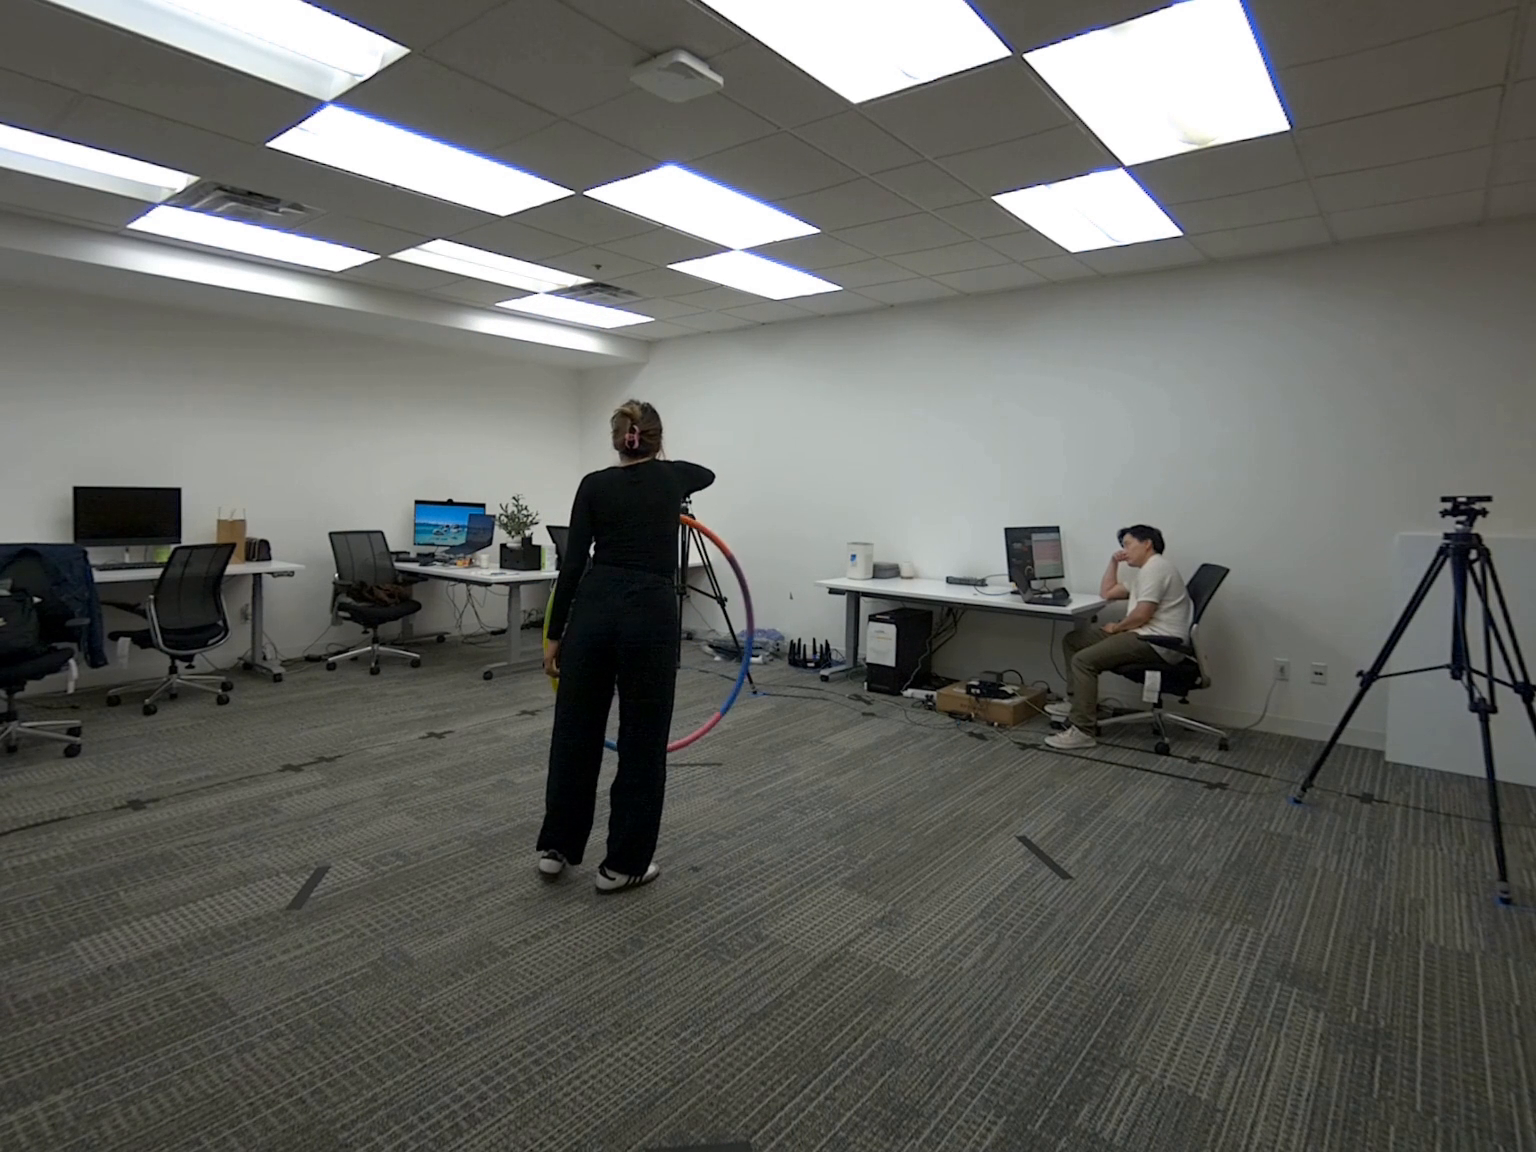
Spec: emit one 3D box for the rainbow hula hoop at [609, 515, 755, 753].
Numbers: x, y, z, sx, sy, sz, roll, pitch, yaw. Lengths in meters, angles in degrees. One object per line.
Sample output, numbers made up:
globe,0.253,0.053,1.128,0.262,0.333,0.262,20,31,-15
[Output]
rainbow hula hoop,-0.460,0.204,3.476,0.957,0.986,0.053,-2,-1,-35
